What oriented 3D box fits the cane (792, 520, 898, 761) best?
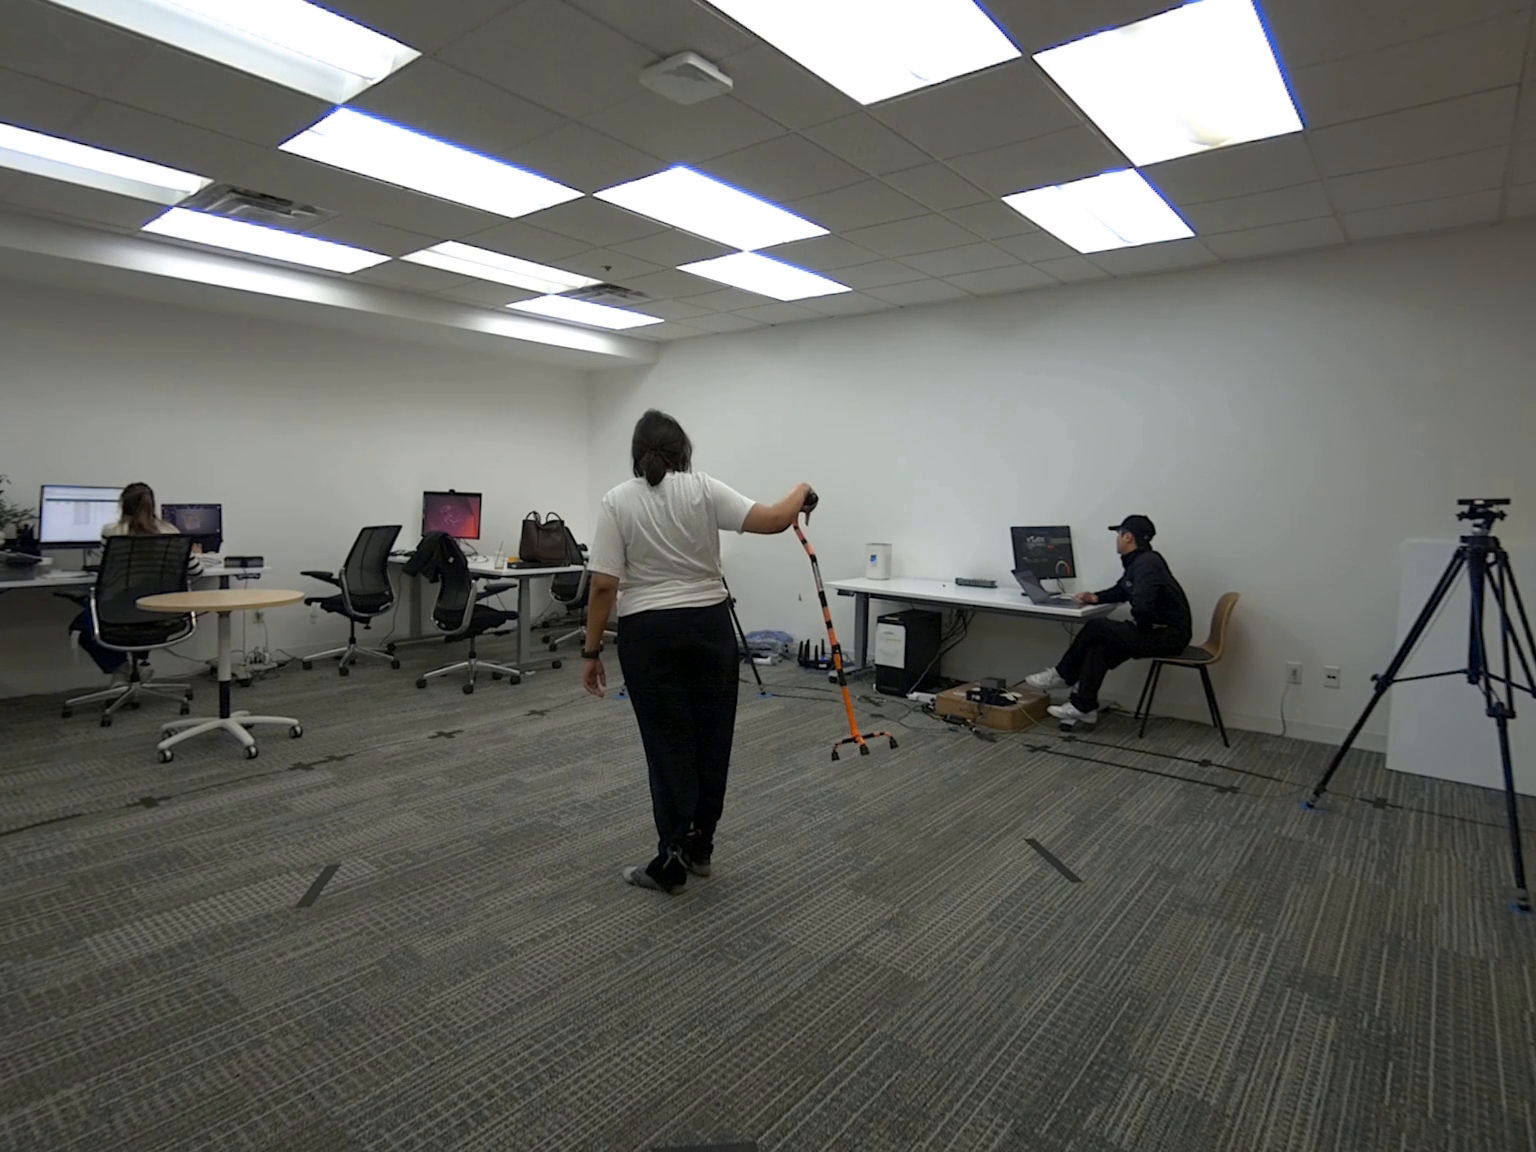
[{"bbox_3d":[0.219,0.192,2.998,0.147,0.921,0.209,-3,-15,-34],"label":"cane"}]
